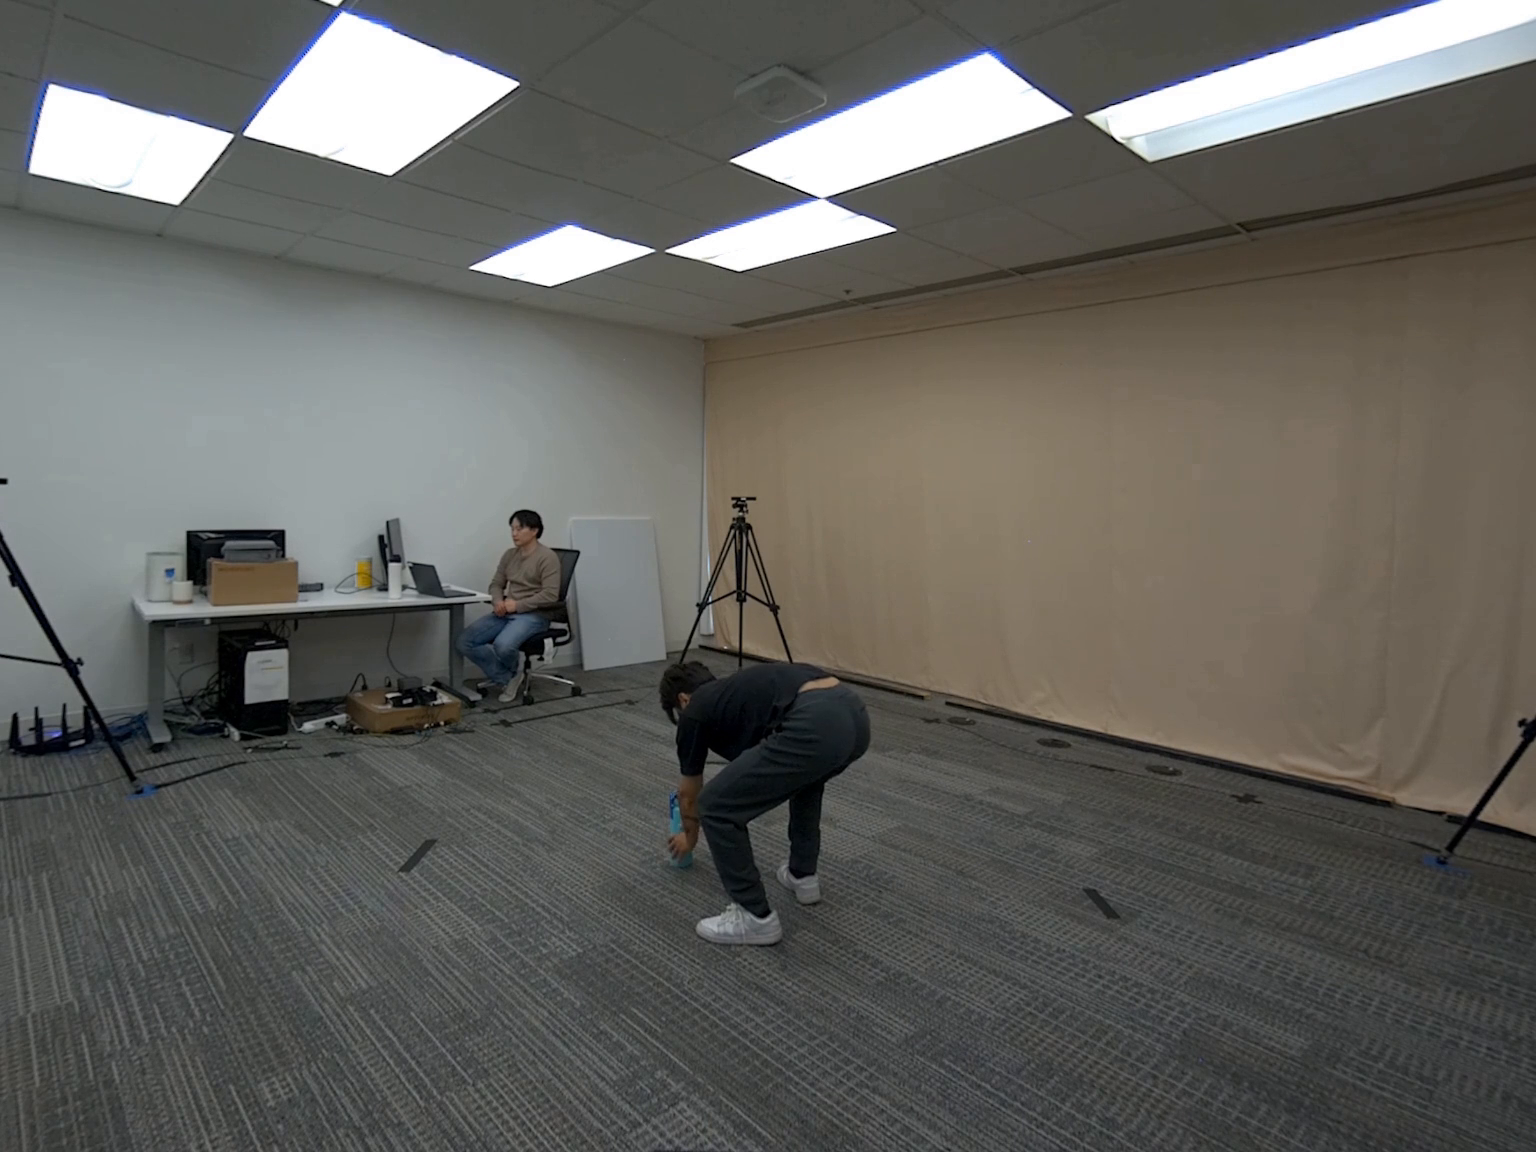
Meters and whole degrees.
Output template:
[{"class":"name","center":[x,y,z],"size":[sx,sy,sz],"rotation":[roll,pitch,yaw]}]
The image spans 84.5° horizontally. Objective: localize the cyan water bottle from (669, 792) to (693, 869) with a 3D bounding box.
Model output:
[{"class":"cyan water bottle","center":[-0.337,0.956,3.200],"size":[0.092,0.282,0.093],"rotation":[2,4,-2]}]
